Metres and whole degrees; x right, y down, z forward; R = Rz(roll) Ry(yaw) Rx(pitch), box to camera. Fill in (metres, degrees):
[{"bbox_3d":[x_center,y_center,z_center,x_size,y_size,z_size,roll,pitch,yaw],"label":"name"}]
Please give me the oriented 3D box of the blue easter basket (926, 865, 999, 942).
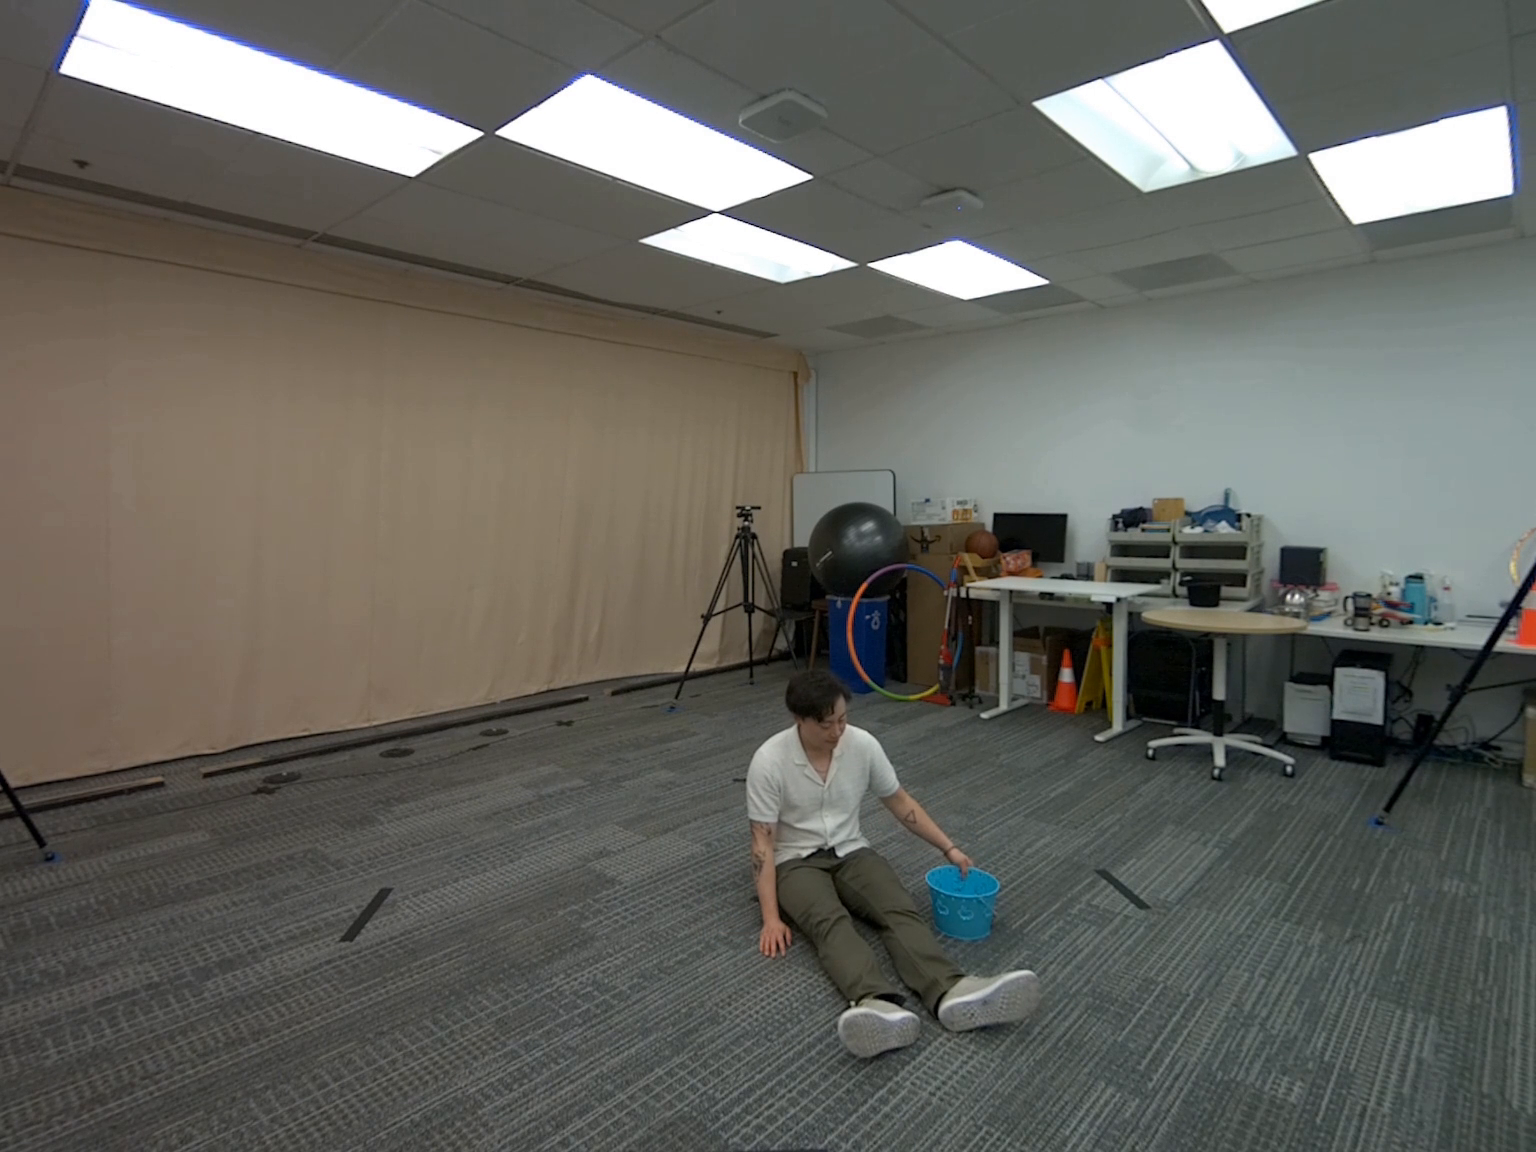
[{"bbox_3d":[0.658,1.081,2.771,0.243,0.155,0.245,0,5,-2],"label":"blue easter basket"}]
